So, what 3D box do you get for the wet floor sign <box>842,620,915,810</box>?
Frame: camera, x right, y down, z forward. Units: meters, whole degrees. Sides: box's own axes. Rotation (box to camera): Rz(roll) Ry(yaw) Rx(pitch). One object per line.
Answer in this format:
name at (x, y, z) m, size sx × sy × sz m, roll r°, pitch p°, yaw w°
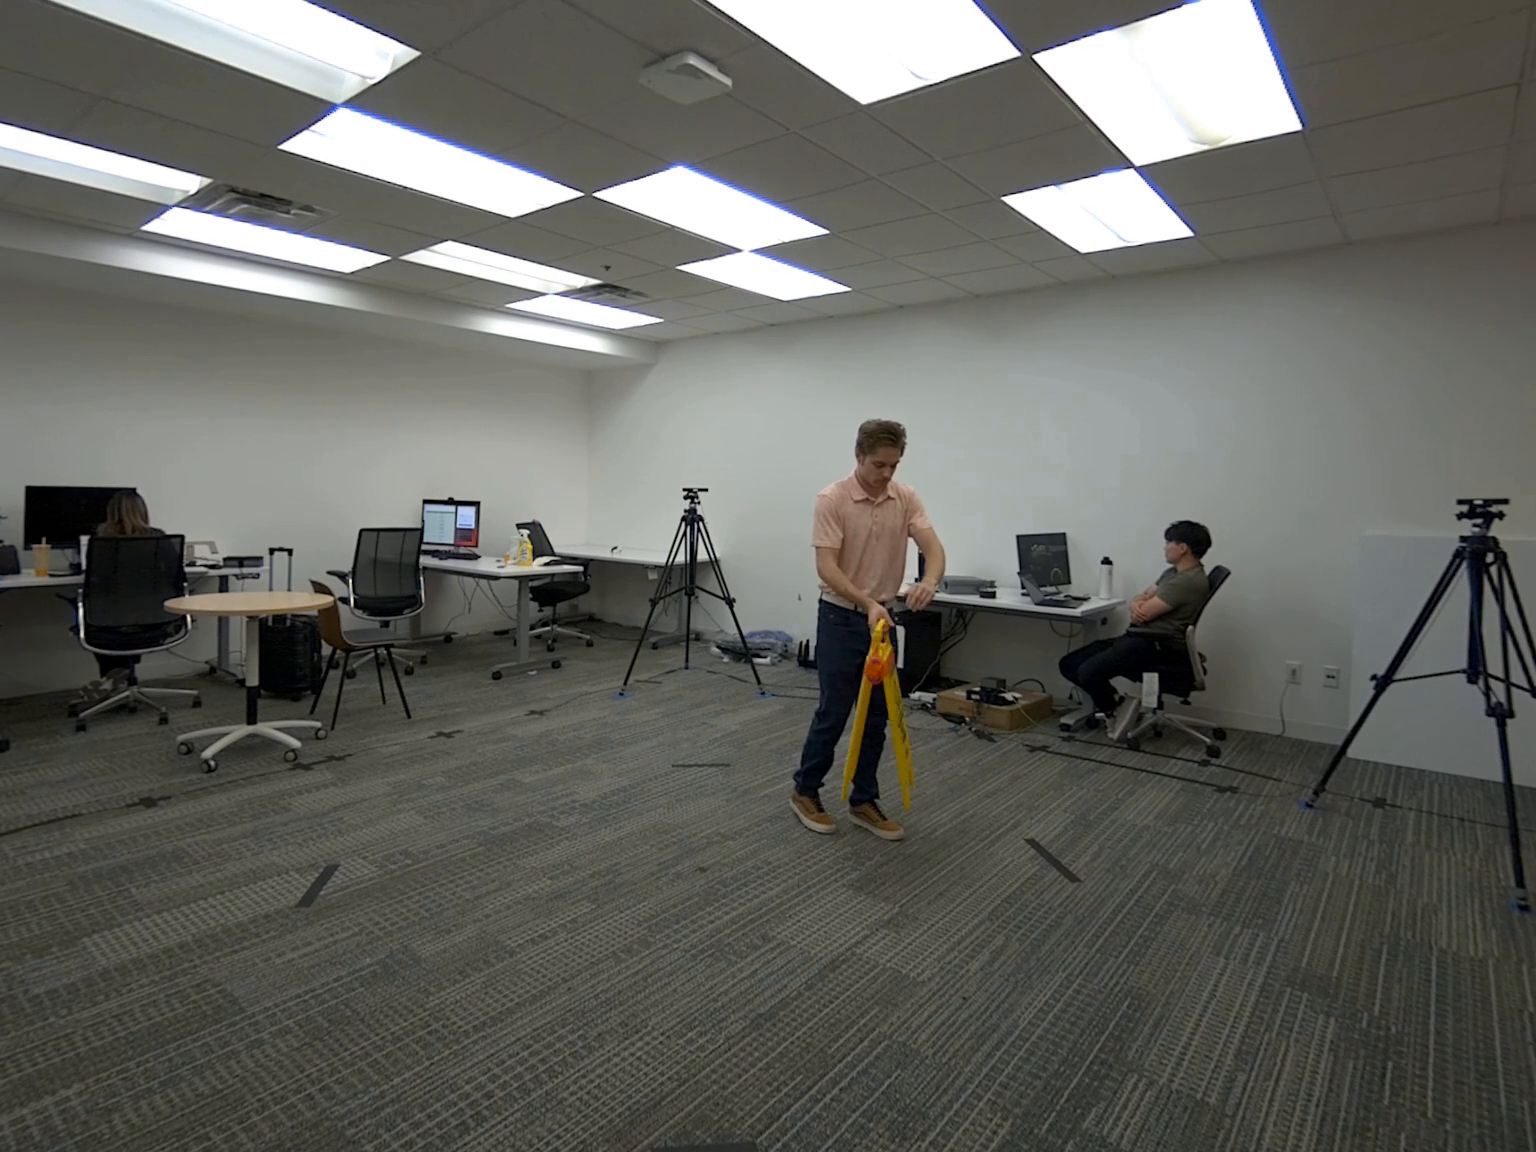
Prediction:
wet floor sign at (0.412, 0.483, 3.150) m, size 0.295 × 0.640 × 0.280 m, roll 2°, pitch 10°, yaw 15°
